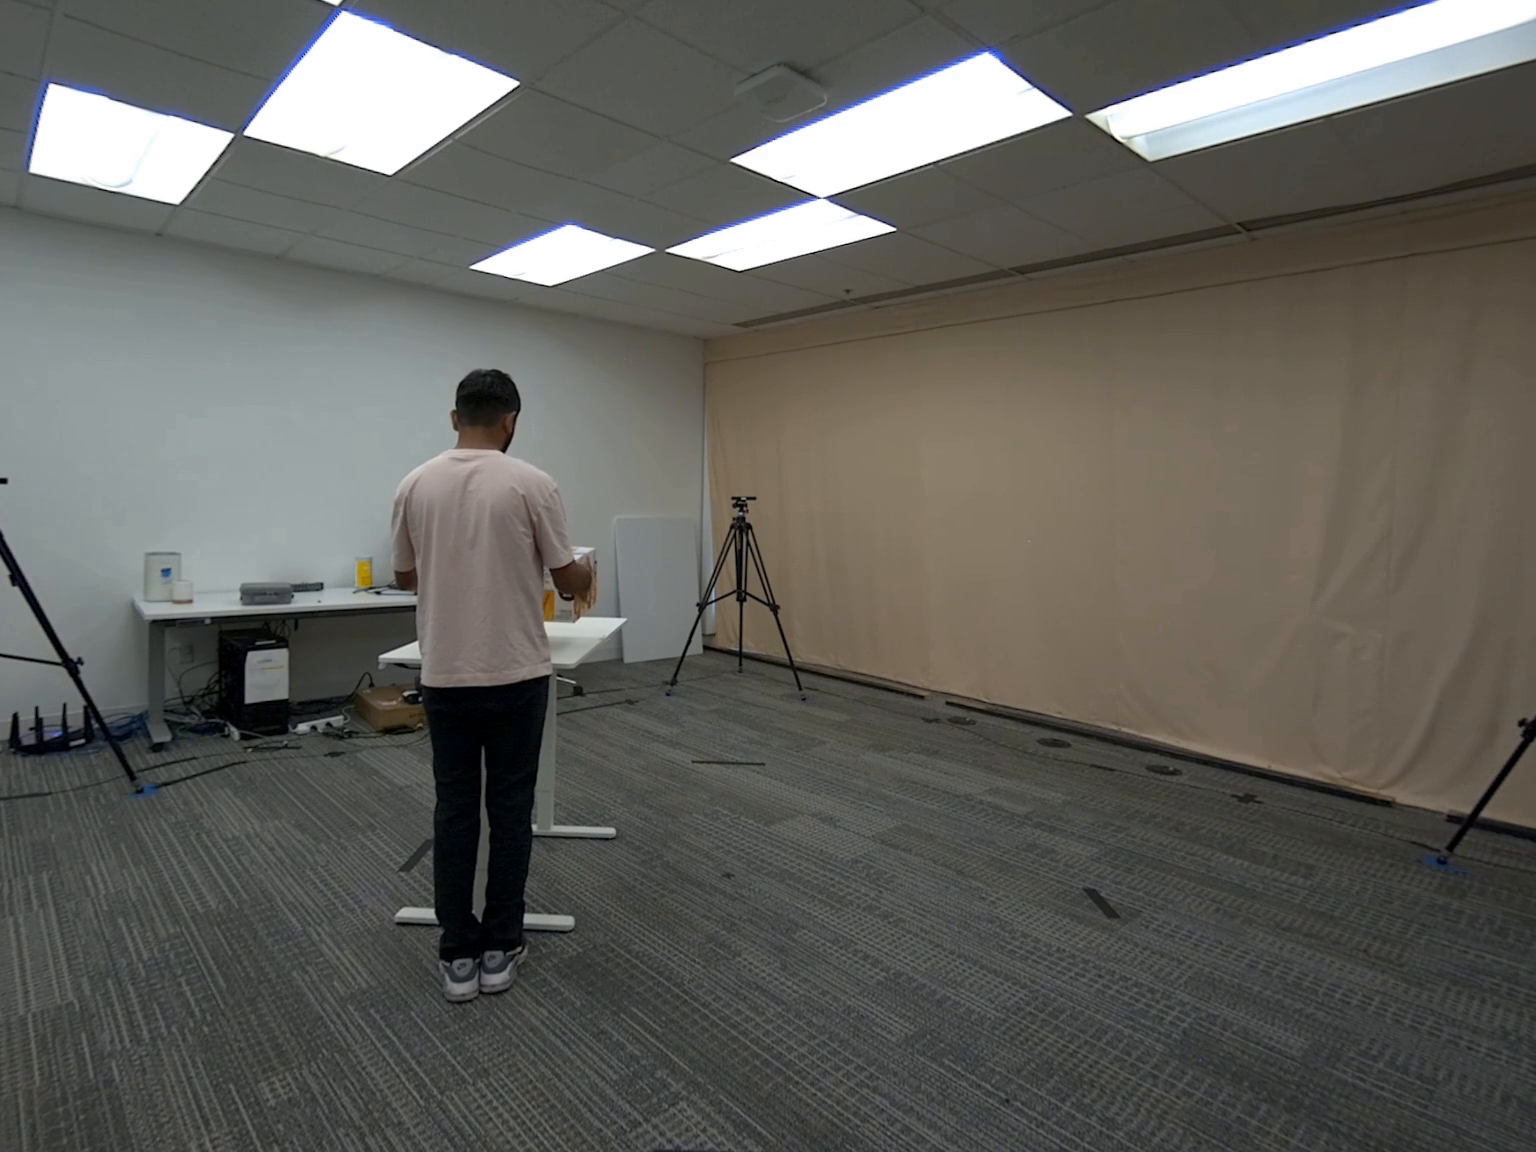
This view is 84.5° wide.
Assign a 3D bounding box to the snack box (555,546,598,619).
[{"bbox_3d":[-0.821,0.023,2.851,0.406,0.204,0.342,2,9,1],"label":"snack box"}]
